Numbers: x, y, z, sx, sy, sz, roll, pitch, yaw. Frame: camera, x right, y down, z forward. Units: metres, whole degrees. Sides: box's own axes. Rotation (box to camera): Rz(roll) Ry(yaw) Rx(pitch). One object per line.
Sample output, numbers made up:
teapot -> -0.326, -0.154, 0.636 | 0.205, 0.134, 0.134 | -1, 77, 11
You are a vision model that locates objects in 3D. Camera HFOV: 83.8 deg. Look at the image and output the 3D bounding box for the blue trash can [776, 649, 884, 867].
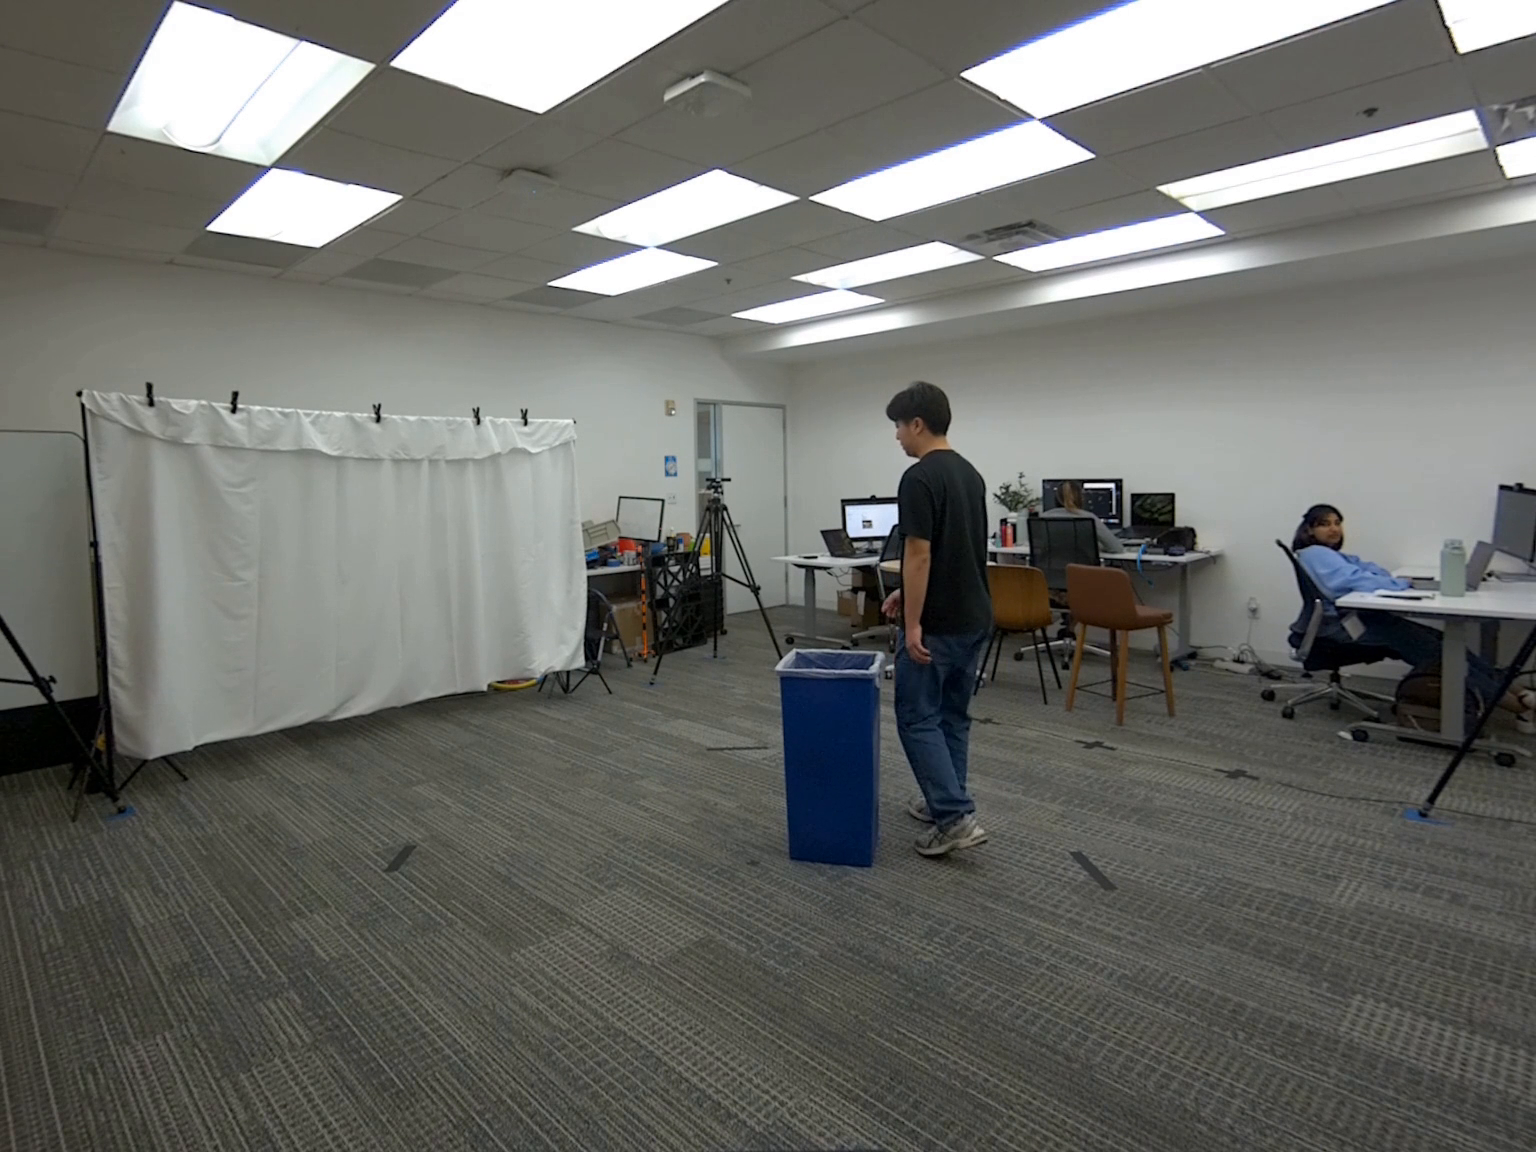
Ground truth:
blue trash can -> 0.254, 0.664, 3.210 | 0.379, 0.711, 0.374 | -2, 4, 14
